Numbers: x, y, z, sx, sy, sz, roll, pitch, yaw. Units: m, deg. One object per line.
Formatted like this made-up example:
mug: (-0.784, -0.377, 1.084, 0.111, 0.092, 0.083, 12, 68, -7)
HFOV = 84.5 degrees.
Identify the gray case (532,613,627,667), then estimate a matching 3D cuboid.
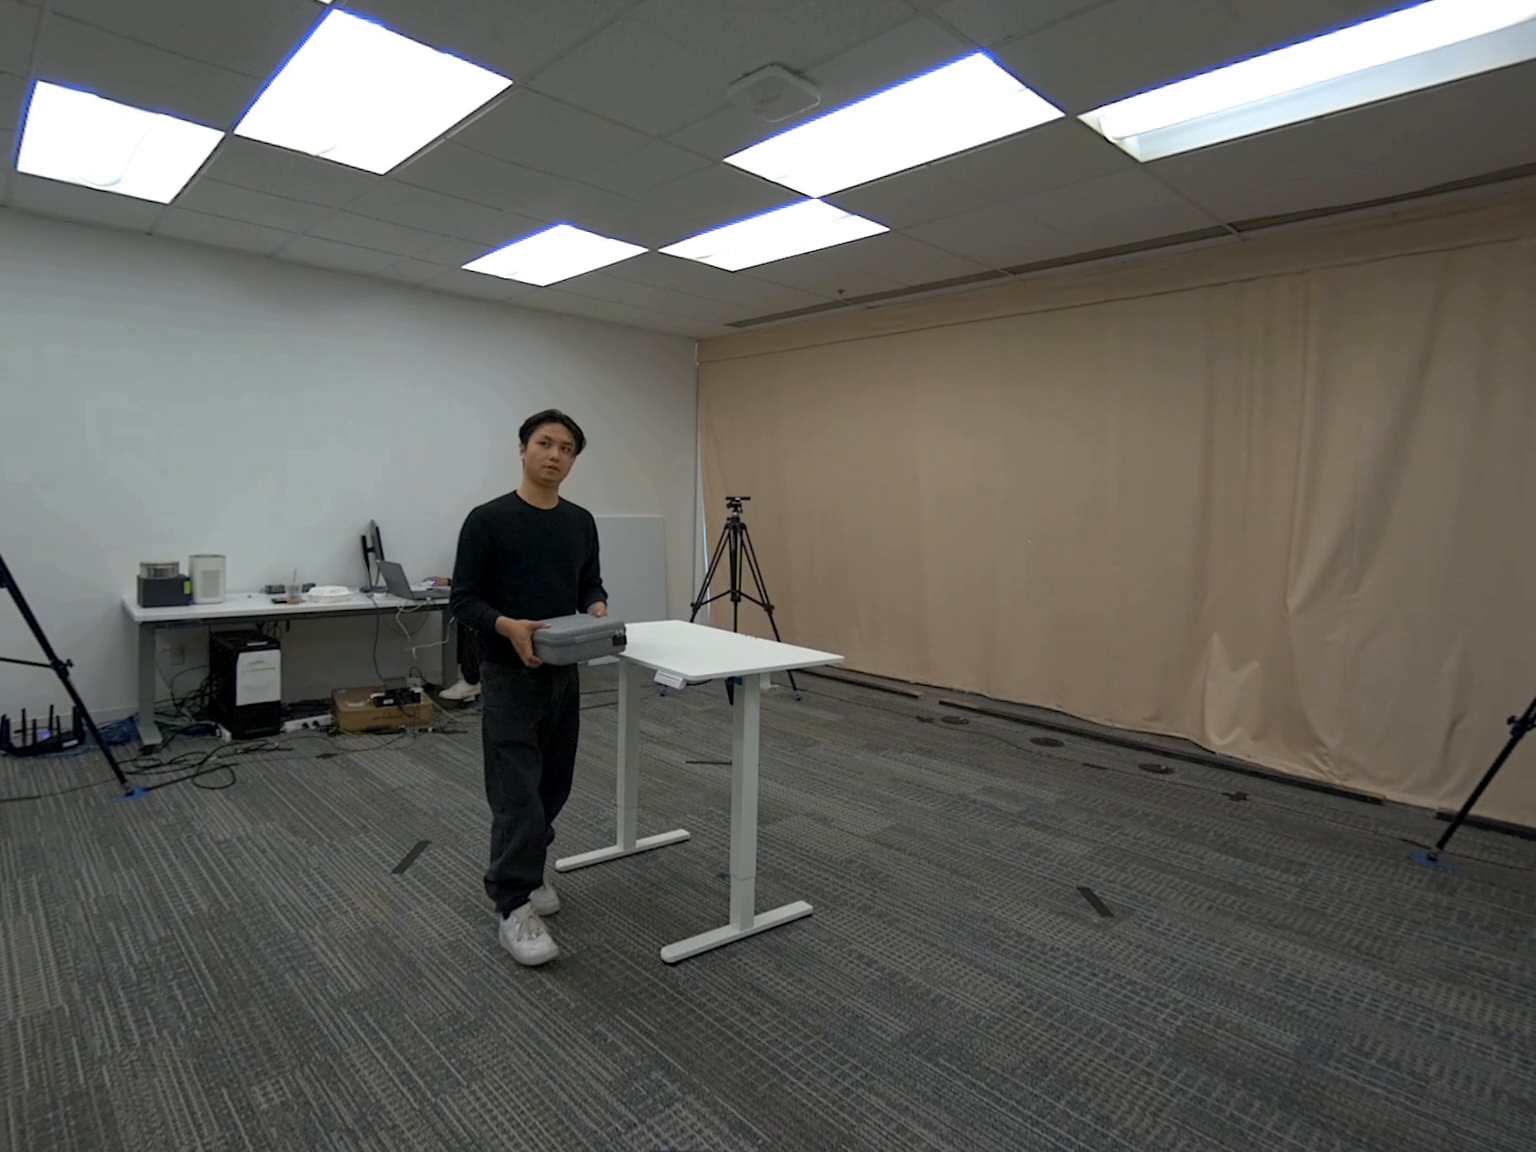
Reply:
gray case: (-0.619, 0.187, 2.517, 0.267, 0.104, 0.252, 4, 10, 43)
